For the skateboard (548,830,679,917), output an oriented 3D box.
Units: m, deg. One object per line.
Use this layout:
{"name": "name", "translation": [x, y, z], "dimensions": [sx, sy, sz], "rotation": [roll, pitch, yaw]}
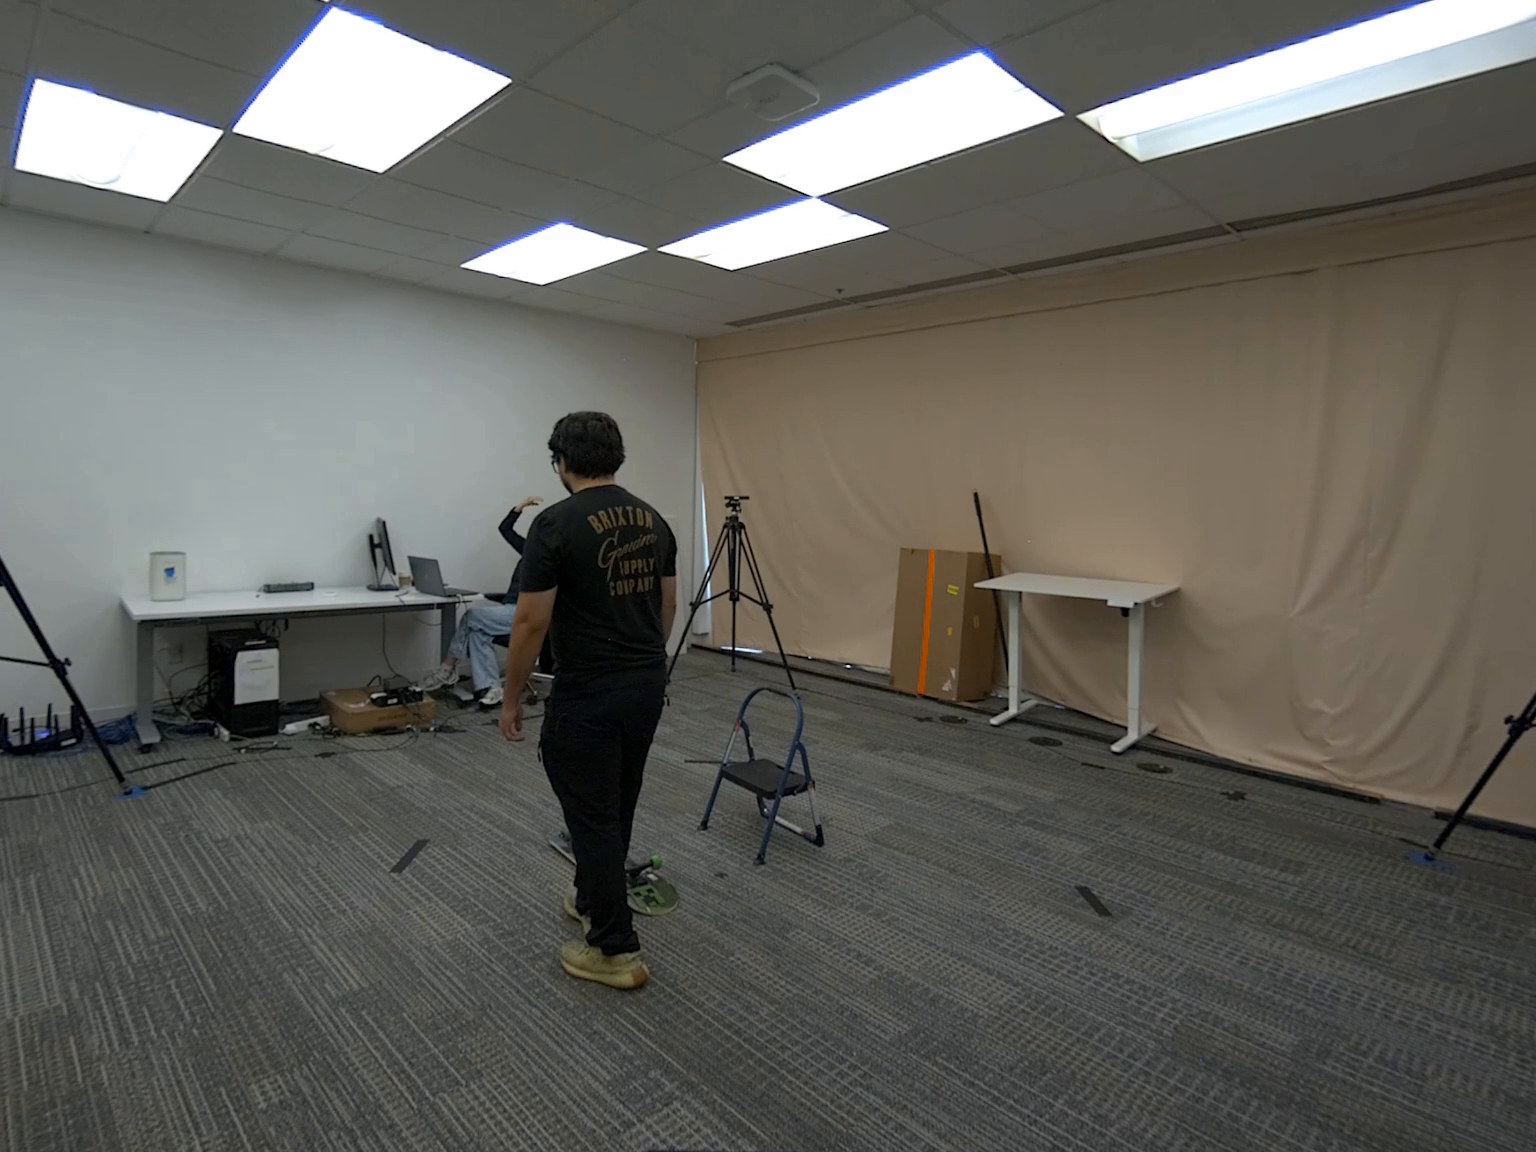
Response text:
{"name": "skateboard", "translation": [-0.595, 1.046, 3.118], "dimensions": [0.189, 0.110, 0.805], "rotation": [-3, 7, -38]}
